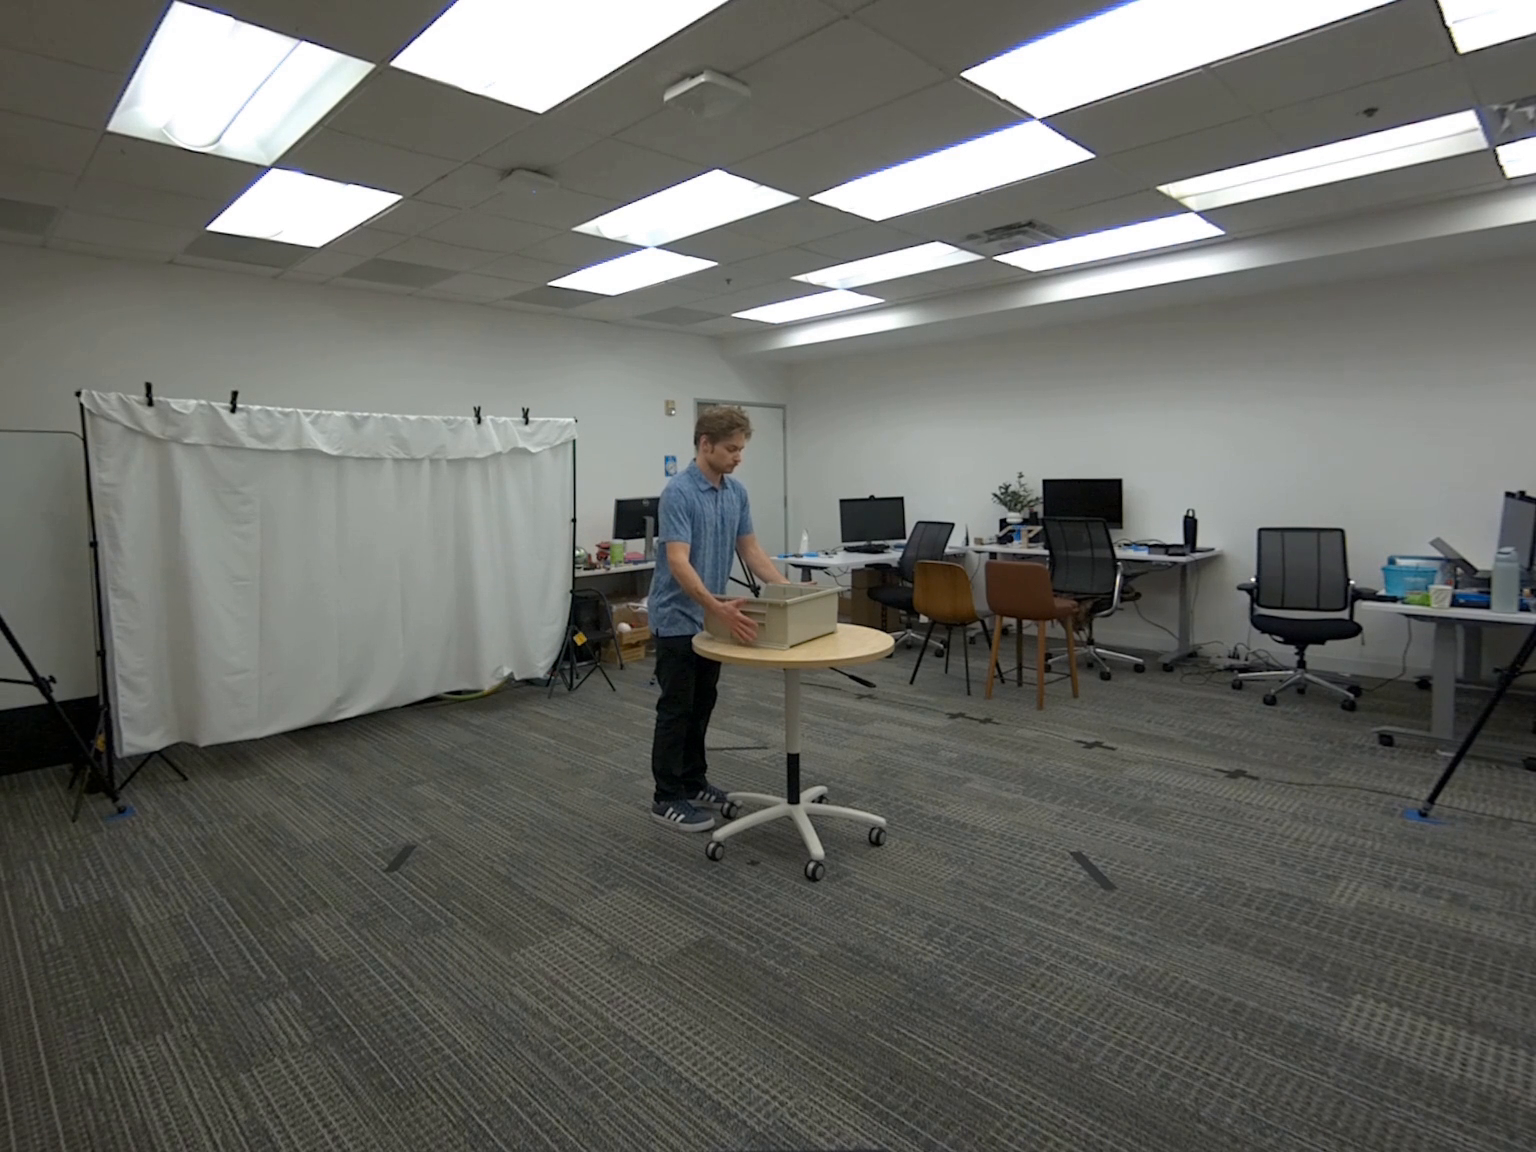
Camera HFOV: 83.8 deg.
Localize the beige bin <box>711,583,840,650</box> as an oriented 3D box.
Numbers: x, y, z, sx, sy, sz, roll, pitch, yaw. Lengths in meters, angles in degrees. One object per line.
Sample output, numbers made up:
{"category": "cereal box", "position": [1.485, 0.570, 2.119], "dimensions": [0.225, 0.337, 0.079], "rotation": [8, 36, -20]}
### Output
{"category": "beige bin", "position": [0.026, 0.143, 3.304], "dimensions": [0.388, 0.188, 0.412], "rotation": [4, 7, 32]}
